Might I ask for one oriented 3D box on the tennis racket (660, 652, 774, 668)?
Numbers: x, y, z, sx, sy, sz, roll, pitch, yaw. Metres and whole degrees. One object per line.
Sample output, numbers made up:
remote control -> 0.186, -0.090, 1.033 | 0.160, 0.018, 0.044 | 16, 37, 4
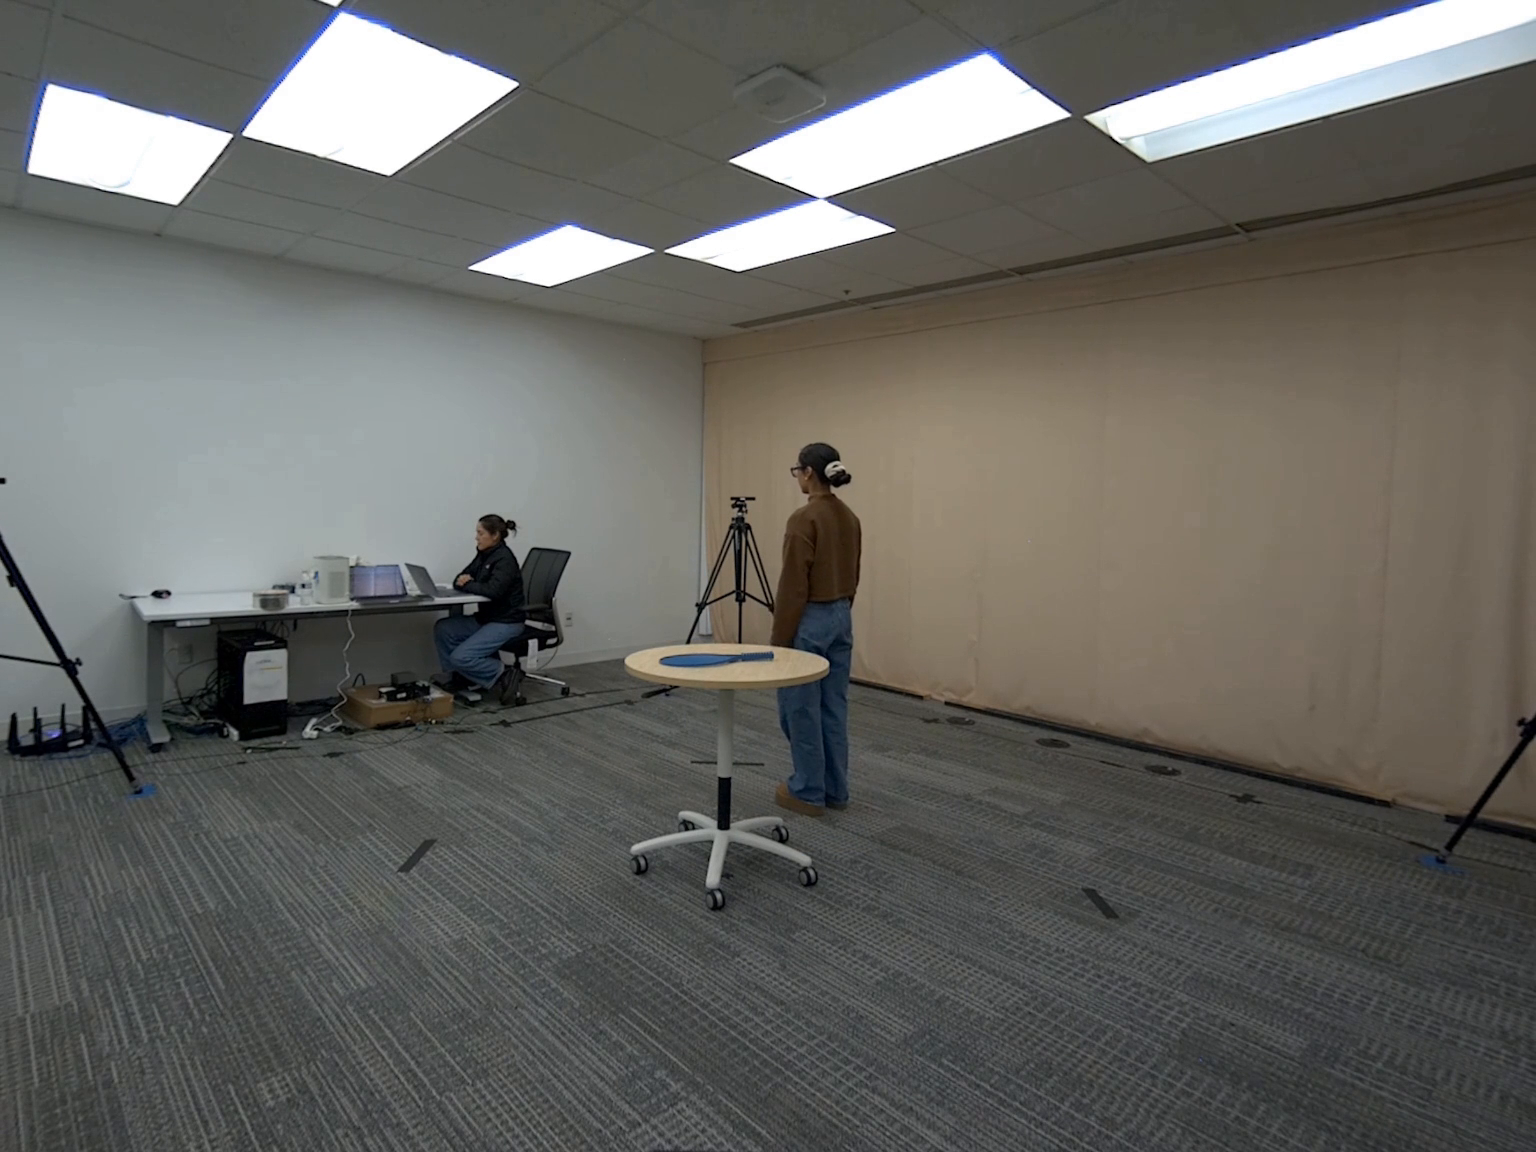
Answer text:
tennis racket -> -0.201, 0.311, 3.133 | 0.429, 0.031, 0.216 | -1, 5, -10
